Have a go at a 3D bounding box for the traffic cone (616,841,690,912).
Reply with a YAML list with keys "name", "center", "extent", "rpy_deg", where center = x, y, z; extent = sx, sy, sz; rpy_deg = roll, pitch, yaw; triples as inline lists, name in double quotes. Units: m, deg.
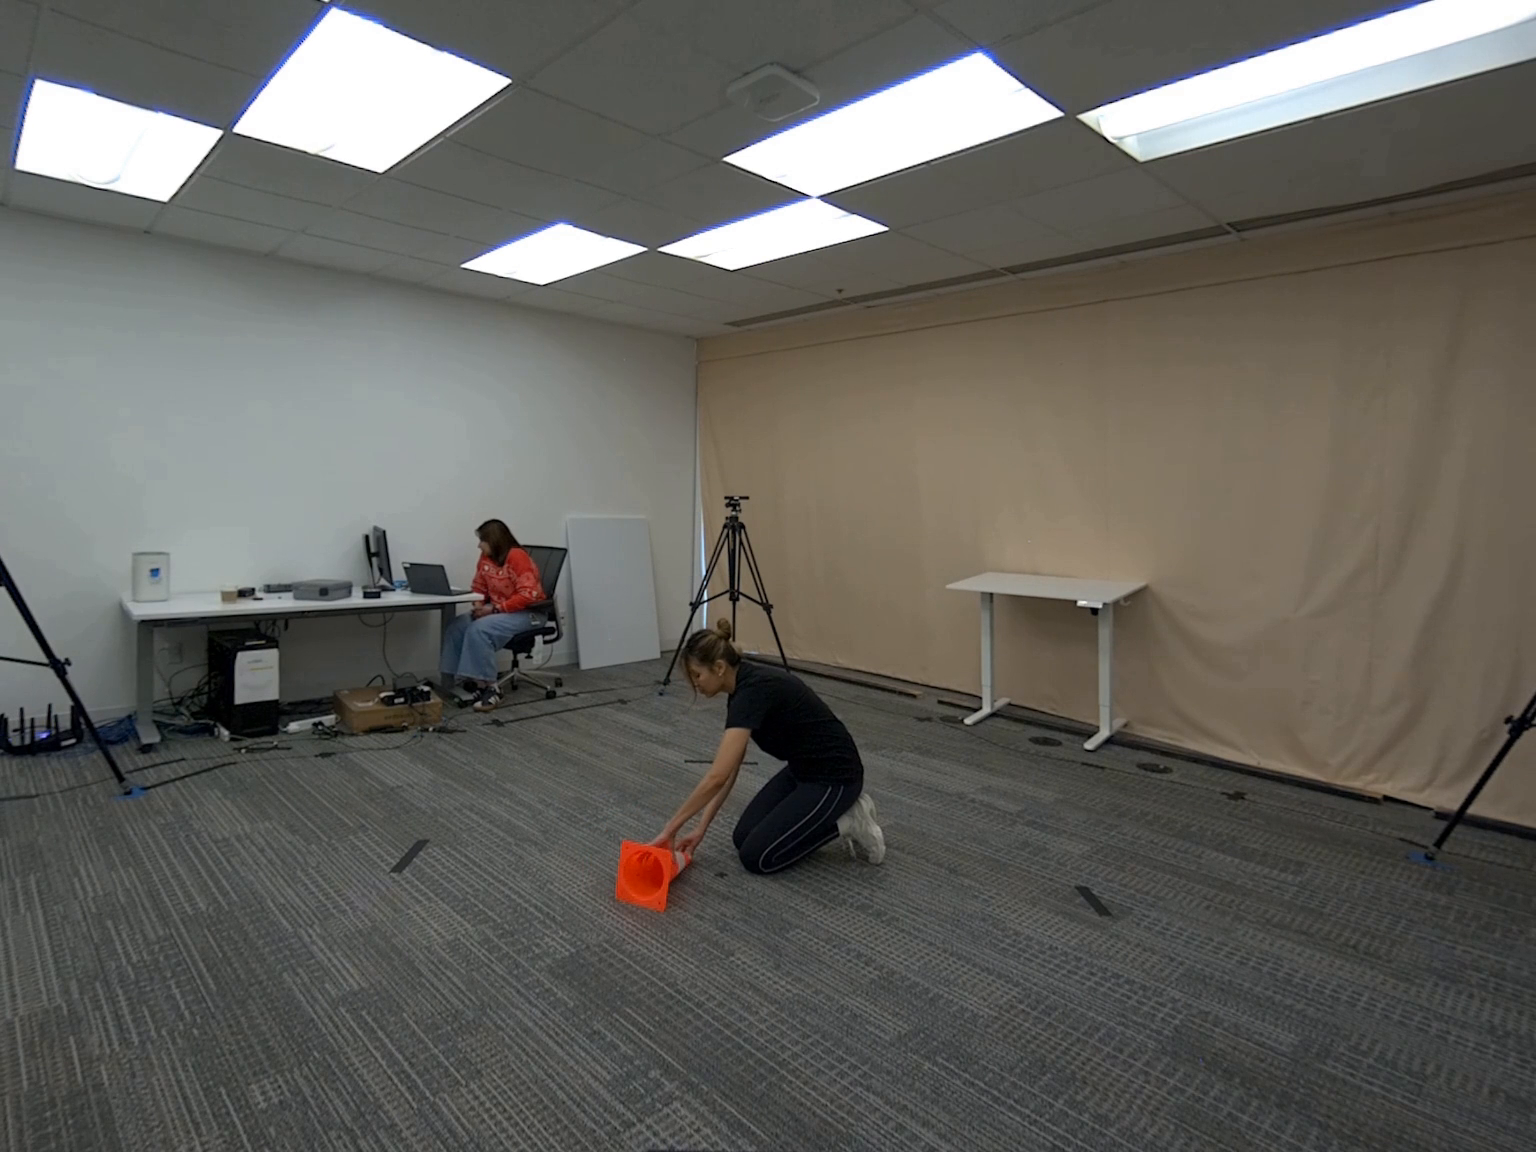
- name: "traffic cone"
  center: [-0.371, 1.050, 3.044]
  extent: [0.209, 0.204, 0.375]
  rpy_deg: [6, -6, 23]
